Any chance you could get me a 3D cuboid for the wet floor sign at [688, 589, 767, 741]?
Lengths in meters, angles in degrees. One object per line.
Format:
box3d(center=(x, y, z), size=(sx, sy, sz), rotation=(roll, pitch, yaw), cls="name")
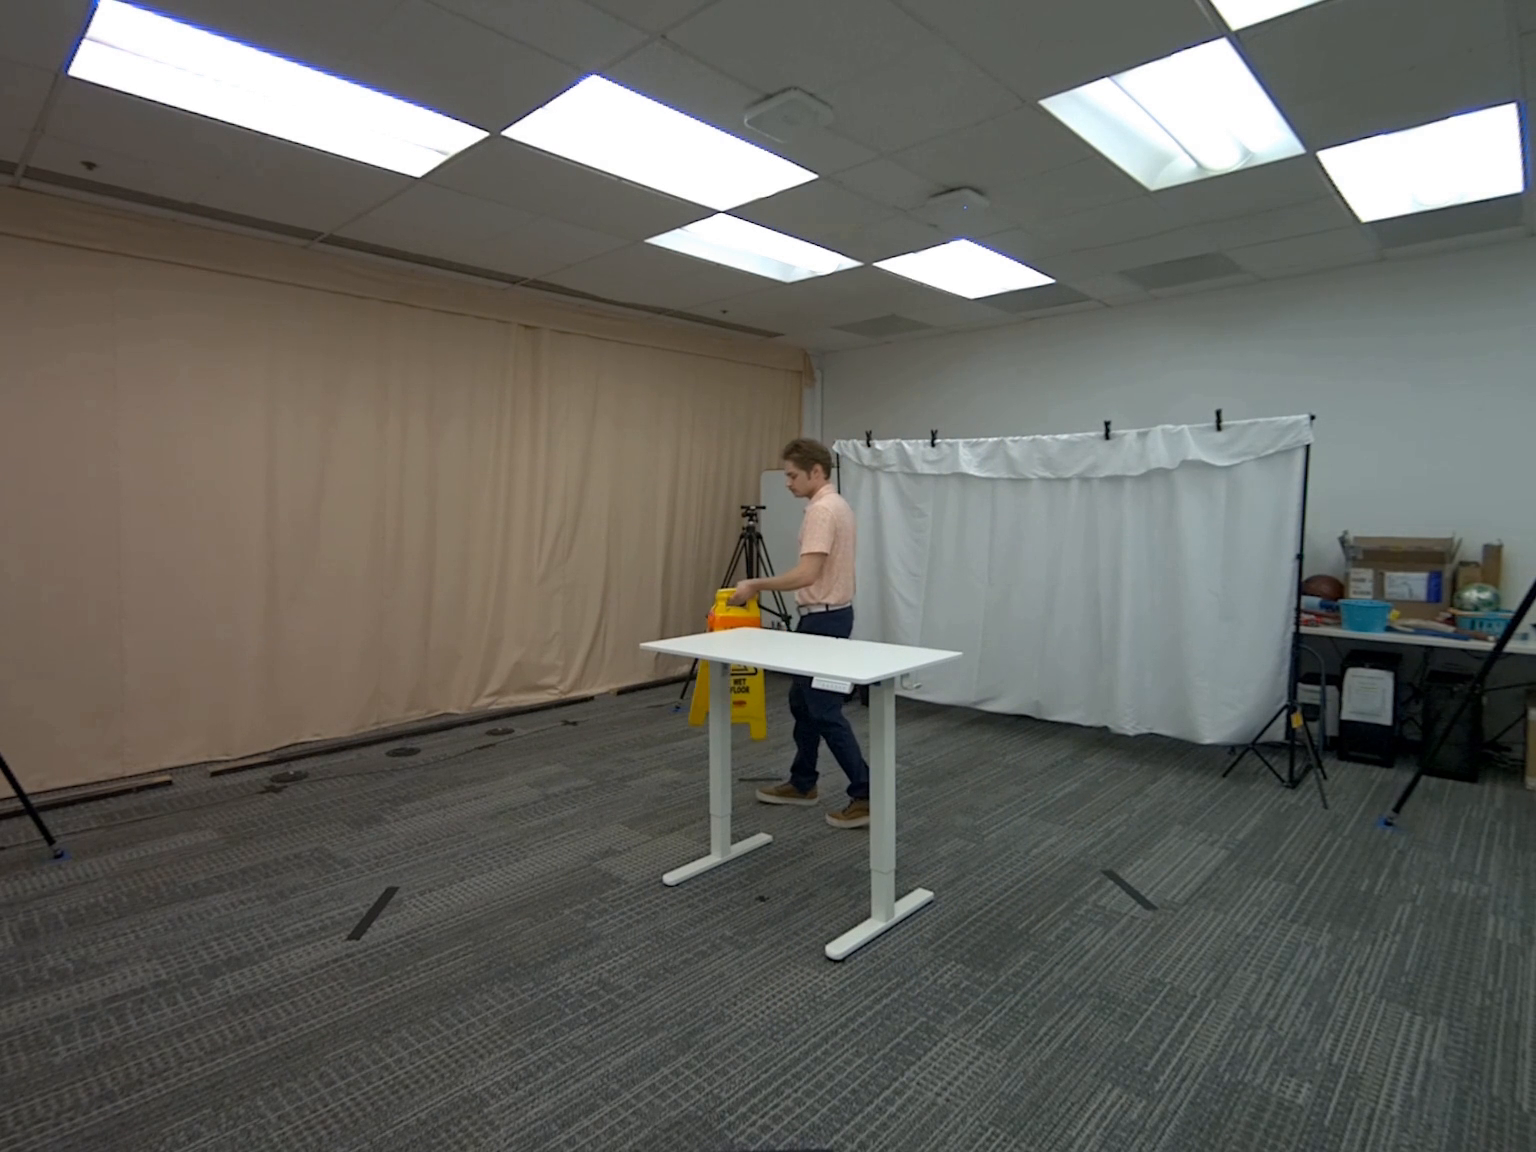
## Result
box3d(center=(-0.159, 0.382, 3.779), size=(0.275, 0.644, 0.298), rotation=(2, 6, -26), cls="wet floor sign")
